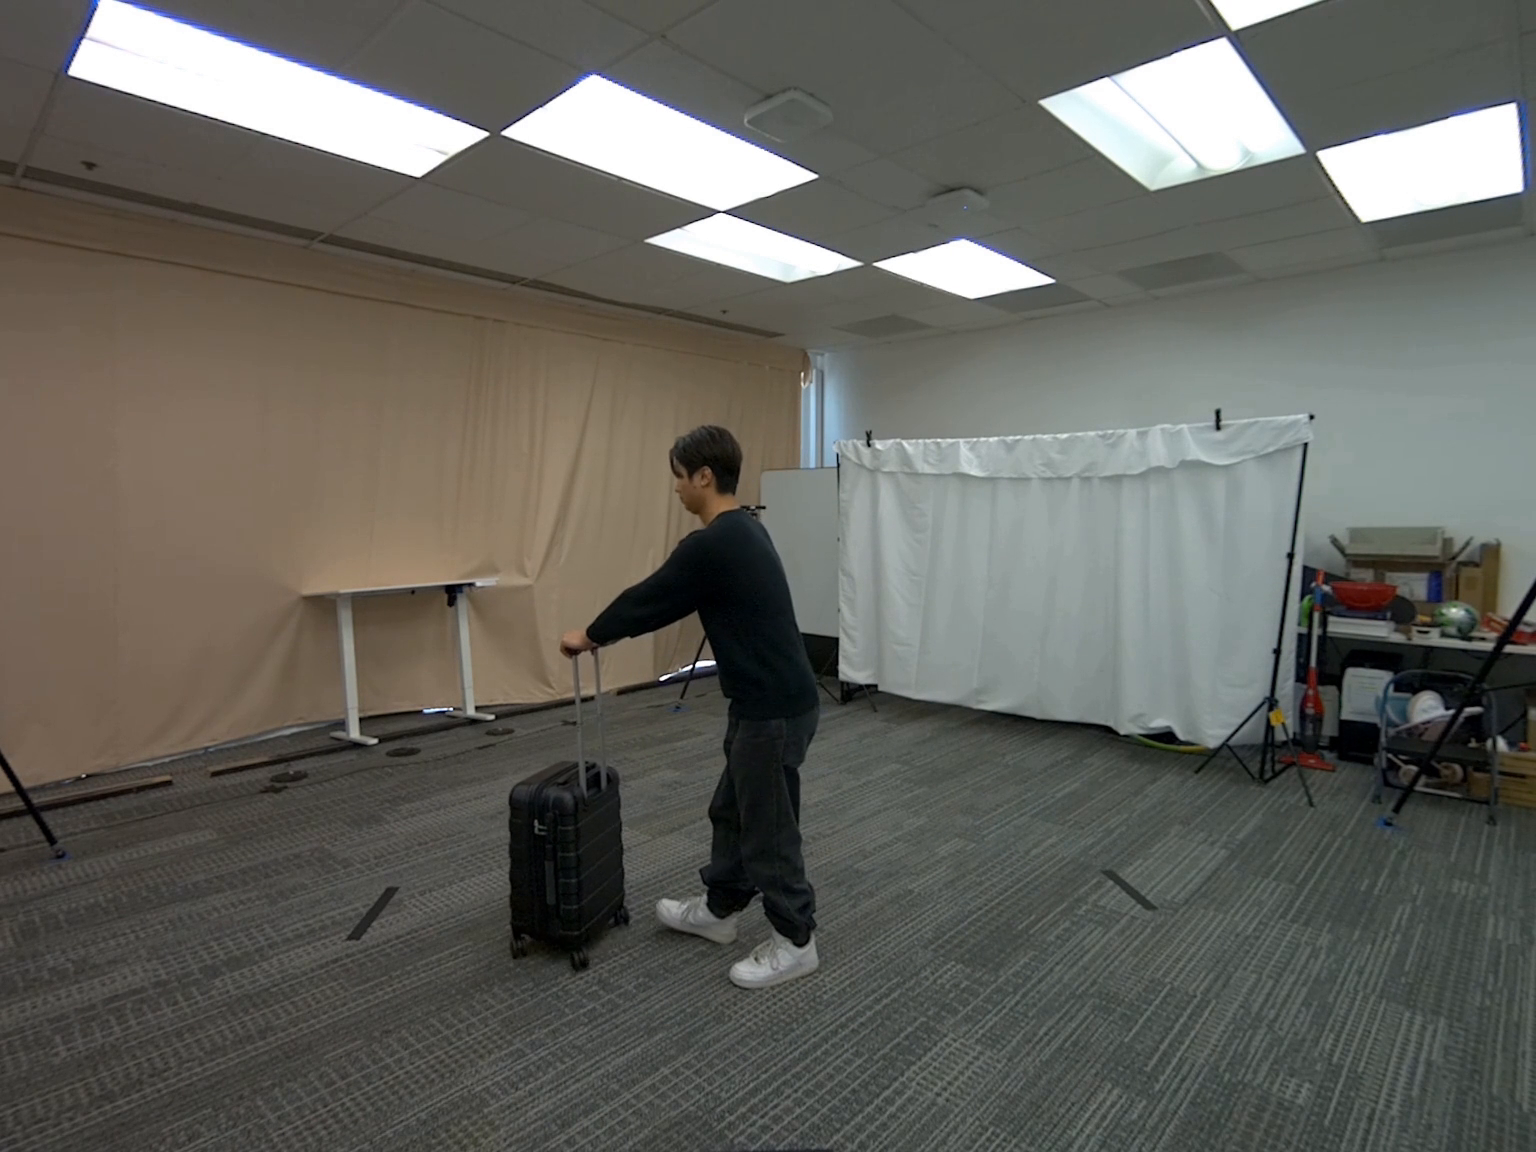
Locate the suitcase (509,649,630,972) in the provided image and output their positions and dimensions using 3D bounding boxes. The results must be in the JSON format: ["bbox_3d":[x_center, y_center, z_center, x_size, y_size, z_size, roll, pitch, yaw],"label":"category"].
[{"bbox_3d":[-0.657,0.697,2.718,0.262,0.978,0.377,-2,1,17],"label":"suitcase"}]
